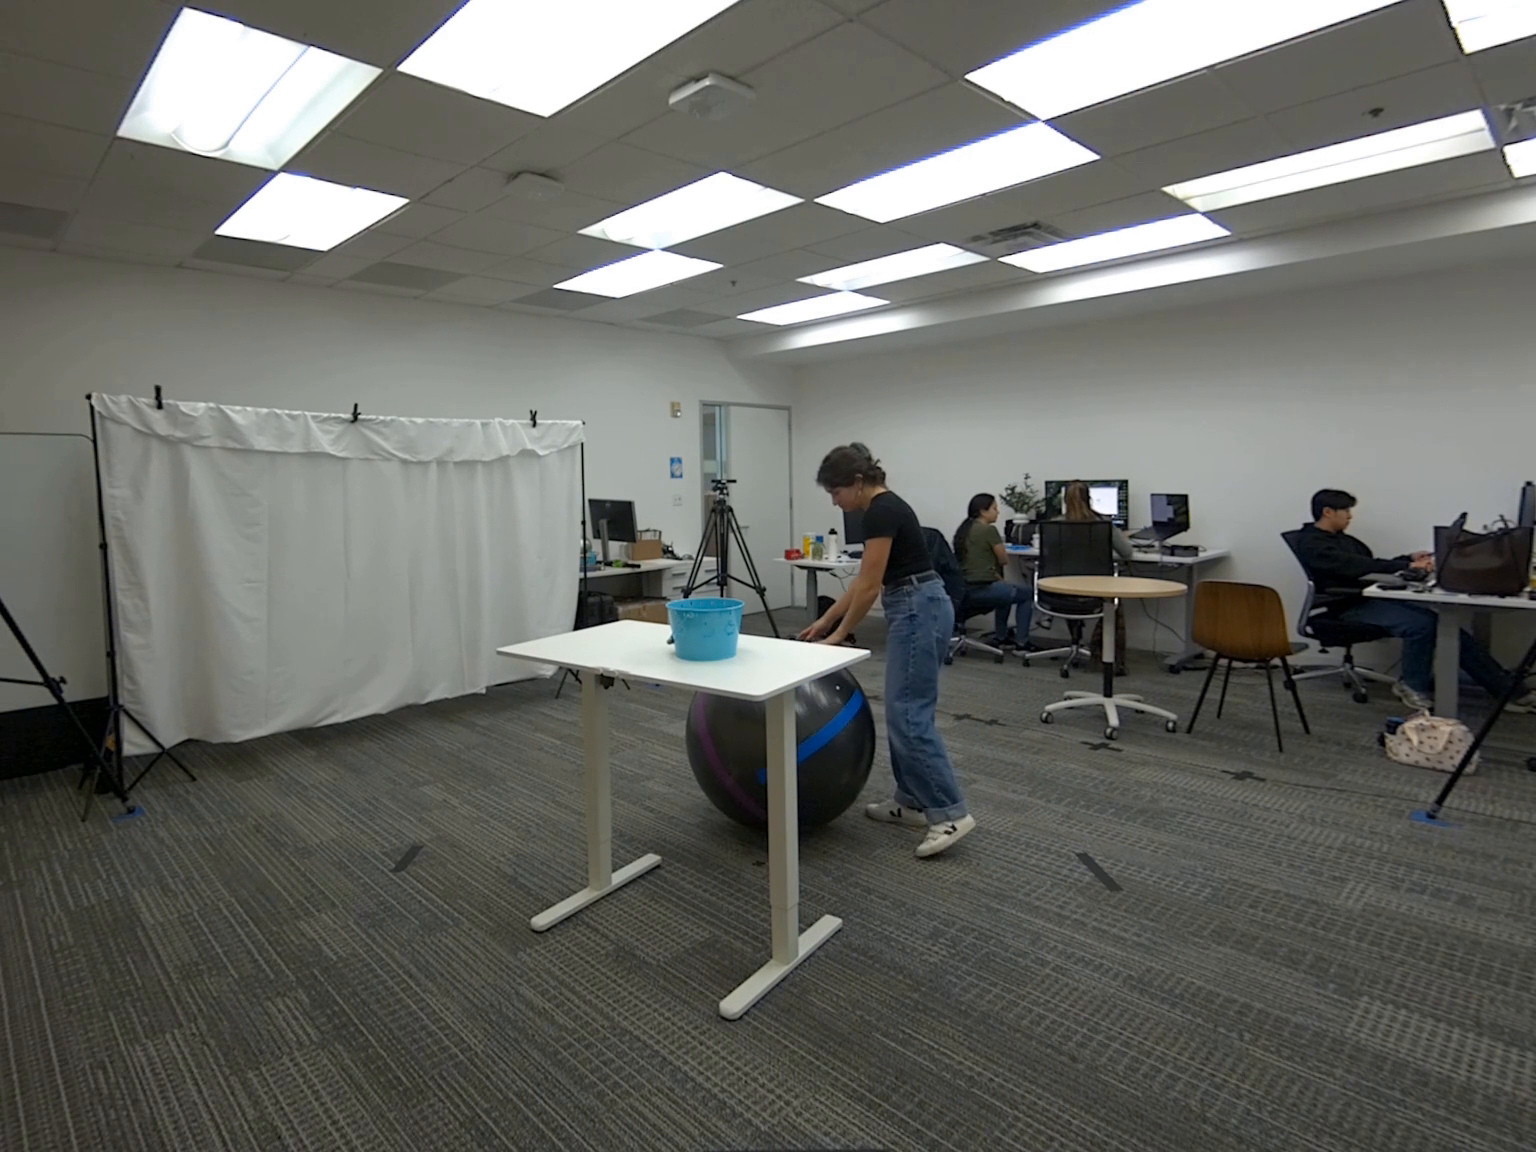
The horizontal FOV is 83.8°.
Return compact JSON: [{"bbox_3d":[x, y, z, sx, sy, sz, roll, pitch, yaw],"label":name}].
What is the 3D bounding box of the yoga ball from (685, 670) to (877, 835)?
[{"bbox_3d":[0.045,0.646,3.434,0.757,0.755,0.762,-1,5,-2],"label":"yoga ball"}]
